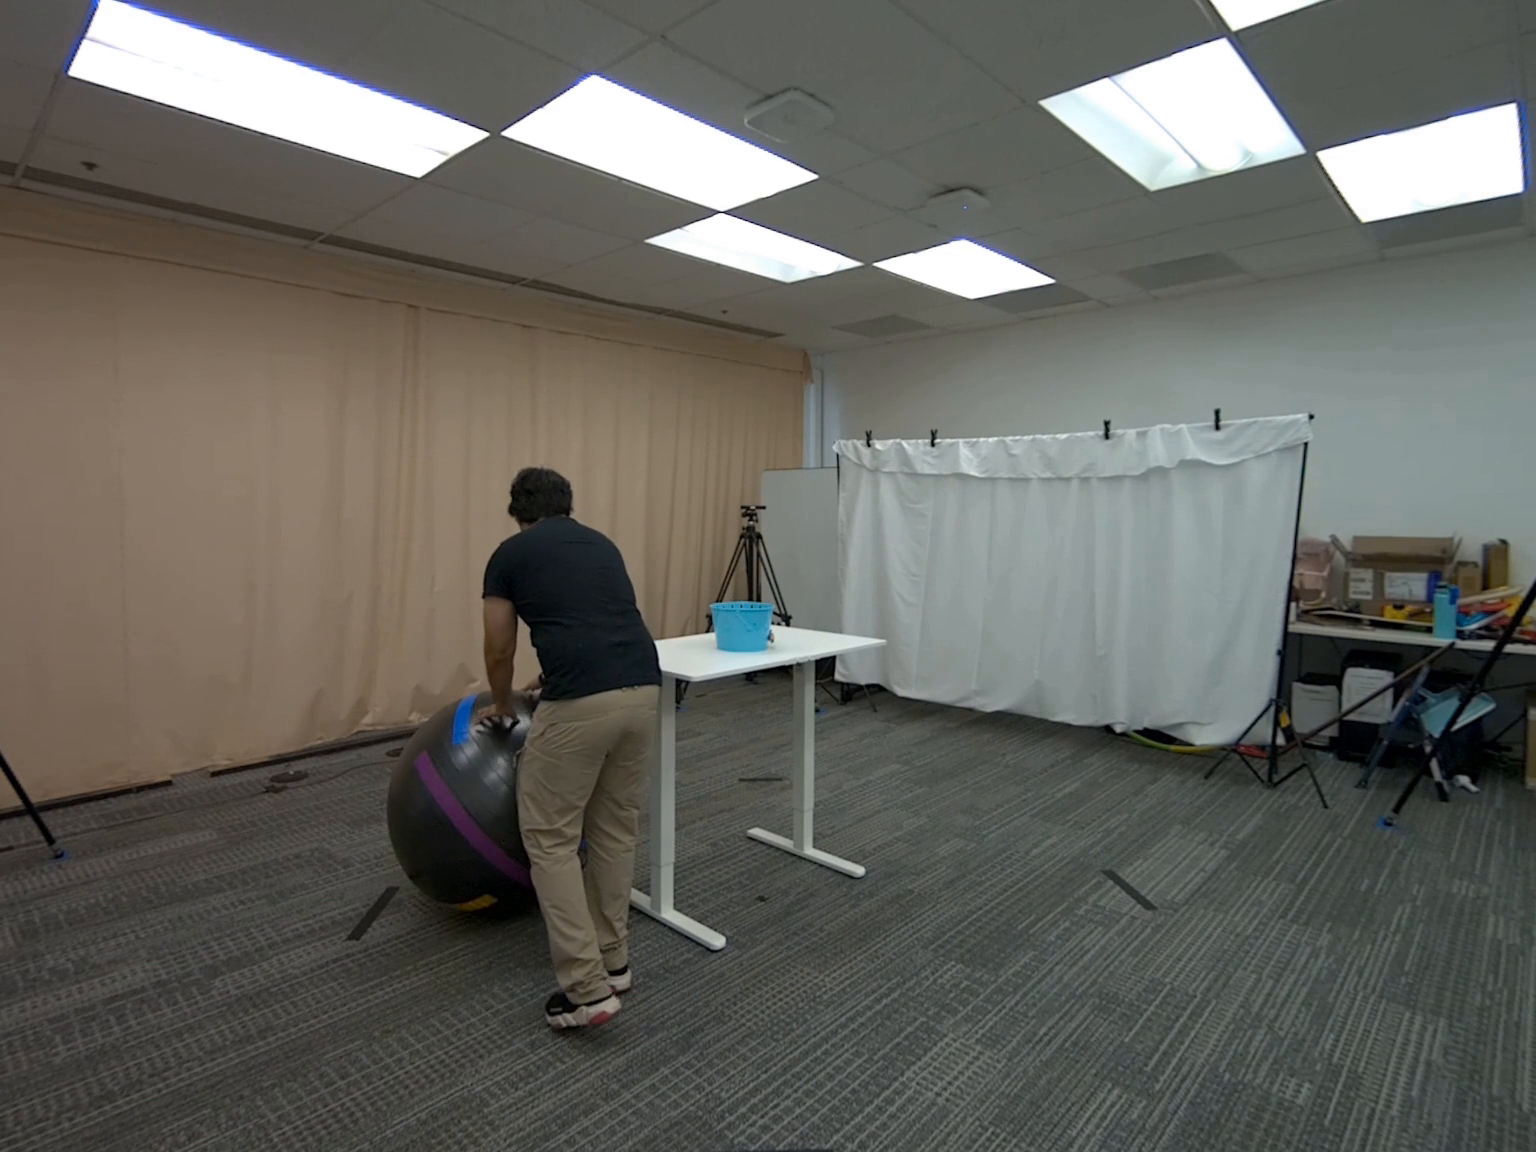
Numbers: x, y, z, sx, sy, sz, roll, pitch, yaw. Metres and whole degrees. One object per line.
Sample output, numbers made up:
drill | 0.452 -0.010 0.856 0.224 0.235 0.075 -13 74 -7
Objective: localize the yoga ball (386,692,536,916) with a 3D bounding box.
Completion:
yoga ball | -0.954 0.787 2.967 0.757 0.756 0.760 0 4 -2
